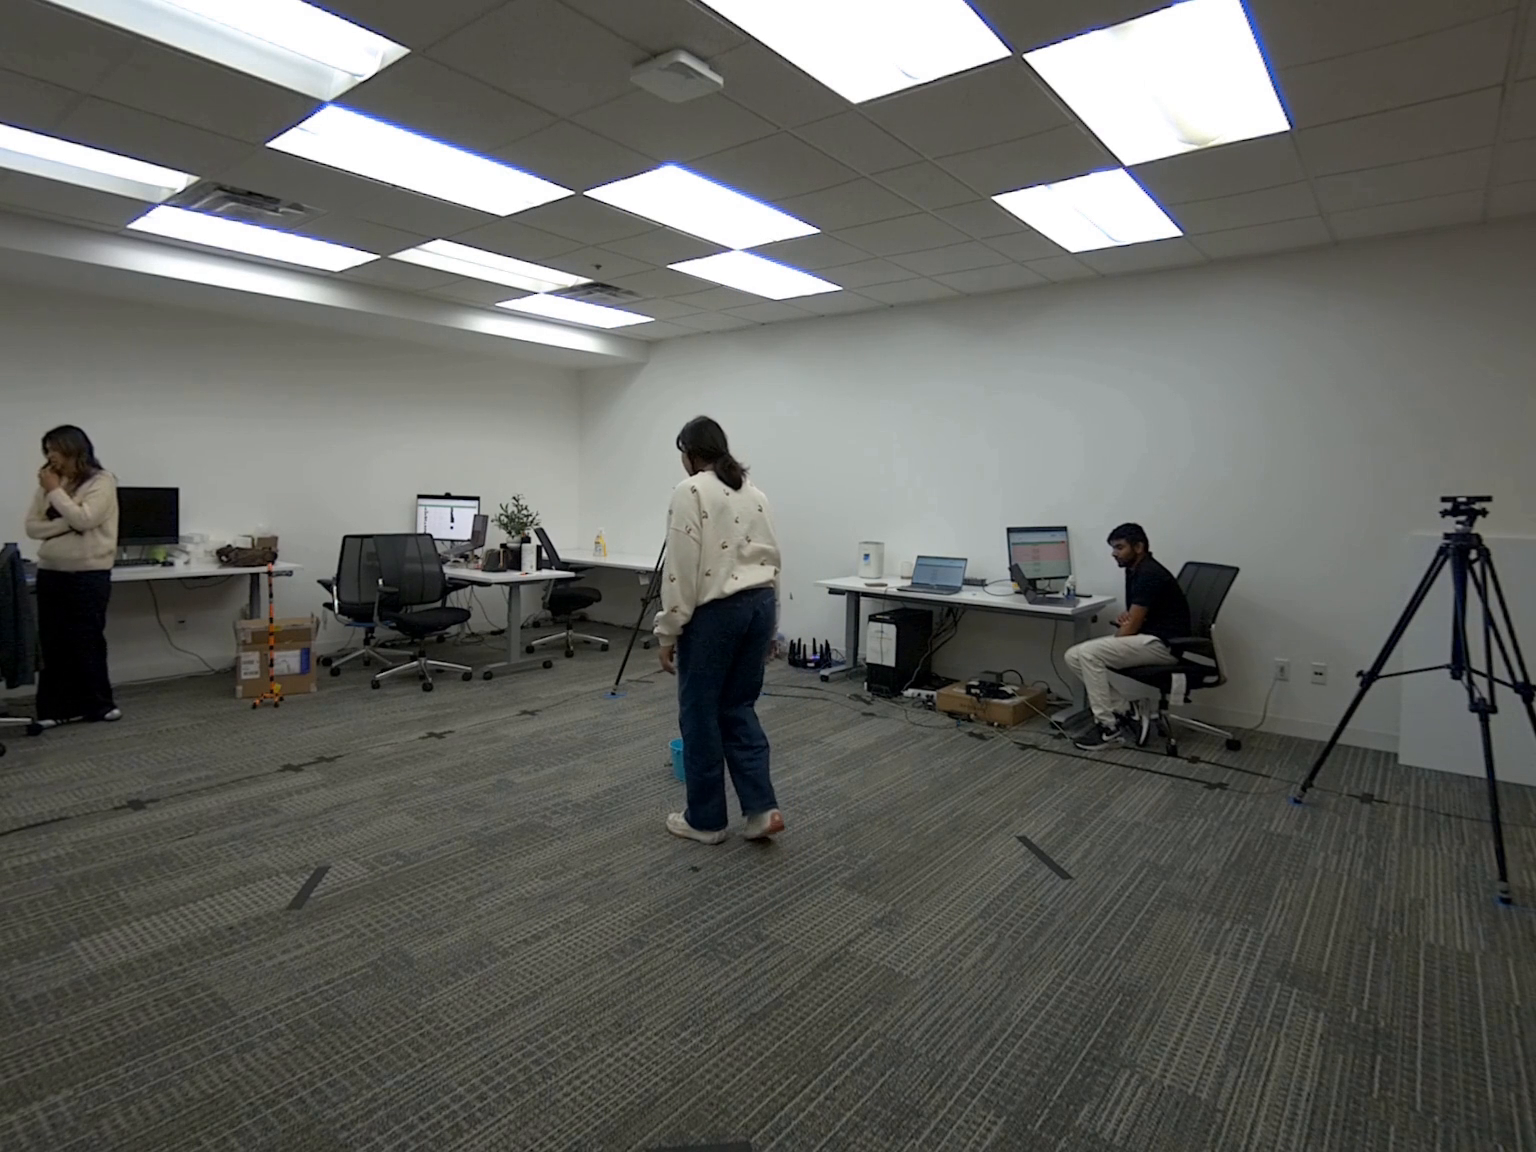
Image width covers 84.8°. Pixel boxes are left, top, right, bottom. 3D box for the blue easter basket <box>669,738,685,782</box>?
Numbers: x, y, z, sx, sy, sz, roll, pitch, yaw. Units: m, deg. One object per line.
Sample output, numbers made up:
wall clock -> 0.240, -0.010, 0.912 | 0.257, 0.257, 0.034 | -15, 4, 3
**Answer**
blue easter basket -> -0.376, 0.883, 4.121 | 0.243, 0.155, 0.245 | 0, 5, -2
